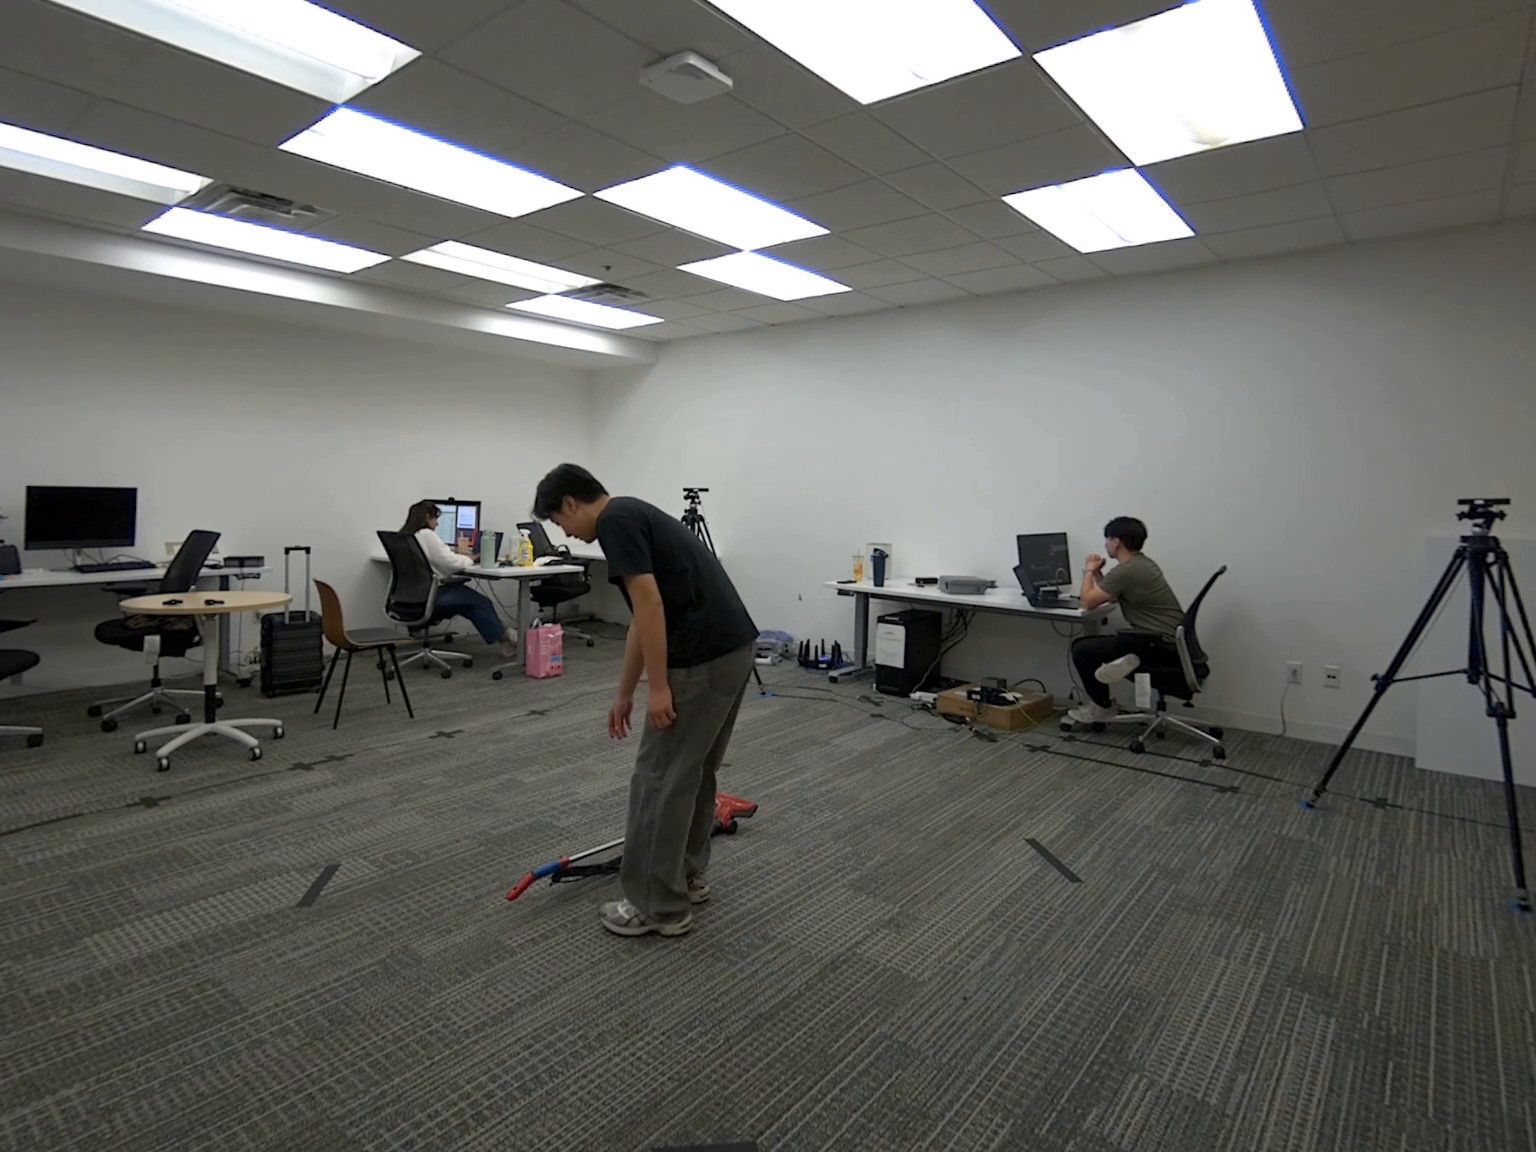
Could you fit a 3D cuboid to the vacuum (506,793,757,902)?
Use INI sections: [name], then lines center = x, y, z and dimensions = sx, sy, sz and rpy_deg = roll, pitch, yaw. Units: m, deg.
[vacuum]
center = -0.498, 1.007, 3.124
dimensions = 0.261, 0.143, 1.018
rpy_deg = 5, 7, 42
